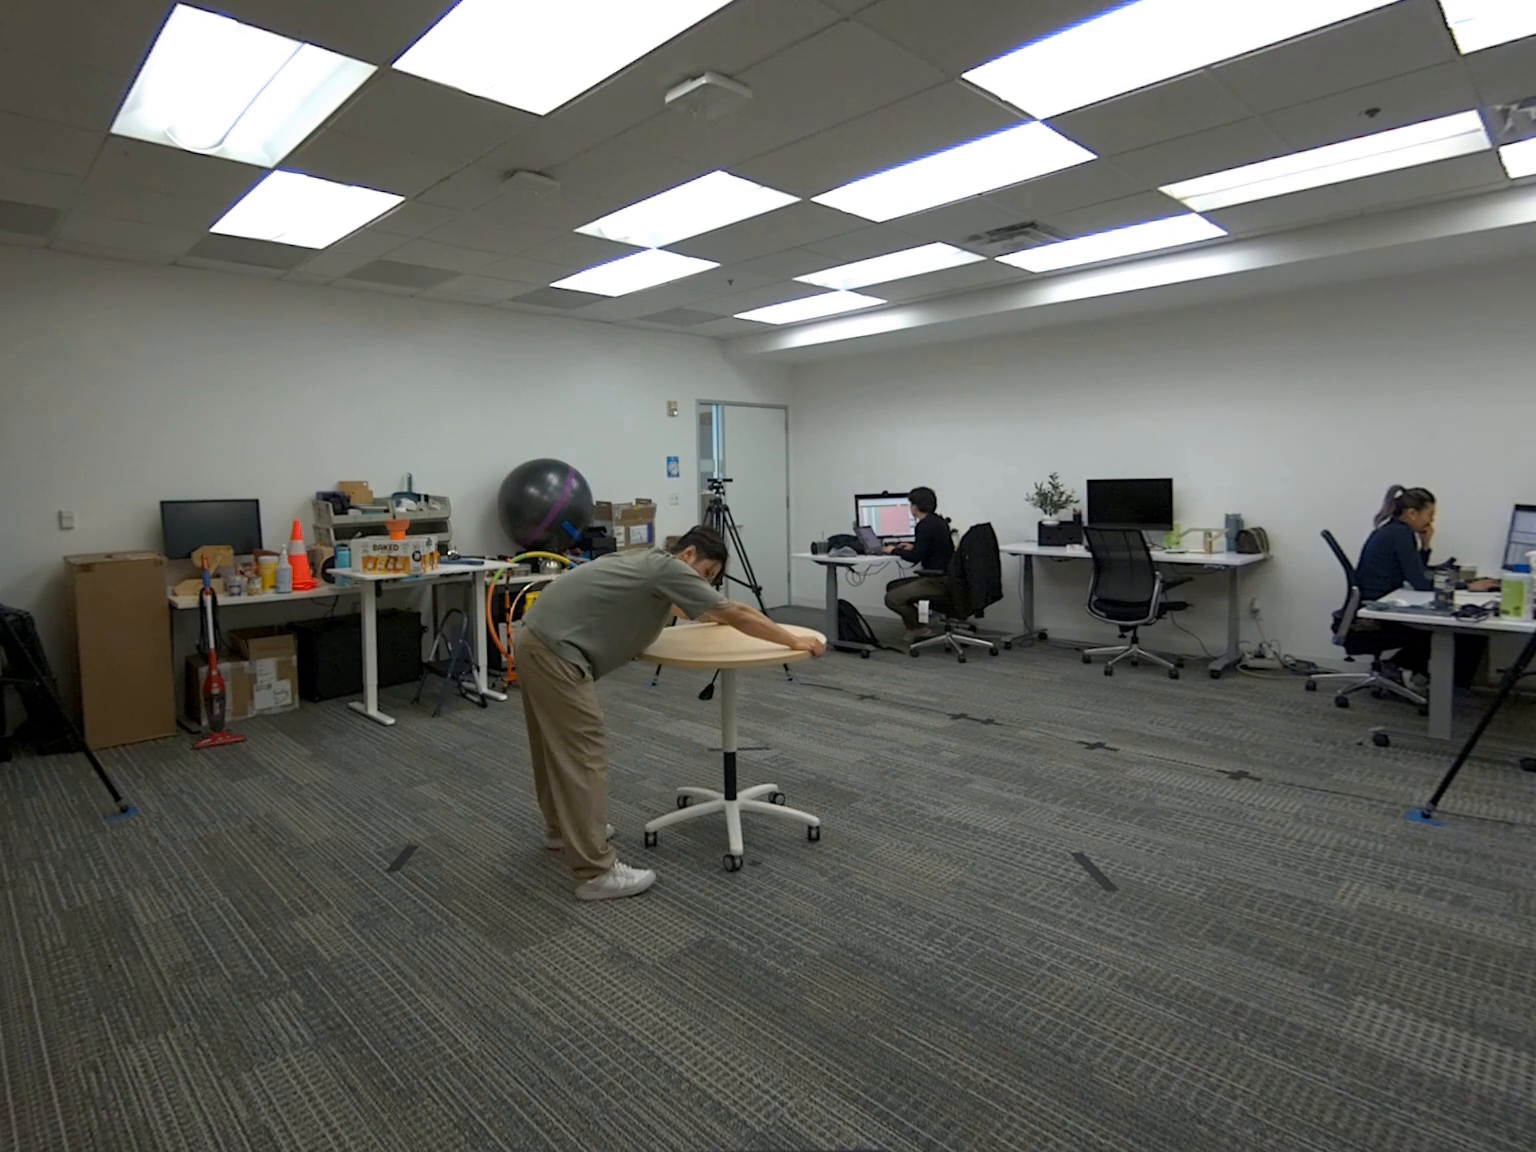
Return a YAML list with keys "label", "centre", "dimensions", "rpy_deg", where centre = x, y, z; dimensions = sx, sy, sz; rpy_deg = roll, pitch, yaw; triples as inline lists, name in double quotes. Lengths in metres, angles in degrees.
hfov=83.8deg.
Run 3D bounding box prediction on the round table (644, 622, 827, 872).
- label: "round table"
  centre: [-0.153, 0.628, 3.372]
  dimensions: [0.784, 0.783, 0.789]
  rpy_deg: [-1, 5, -2]
